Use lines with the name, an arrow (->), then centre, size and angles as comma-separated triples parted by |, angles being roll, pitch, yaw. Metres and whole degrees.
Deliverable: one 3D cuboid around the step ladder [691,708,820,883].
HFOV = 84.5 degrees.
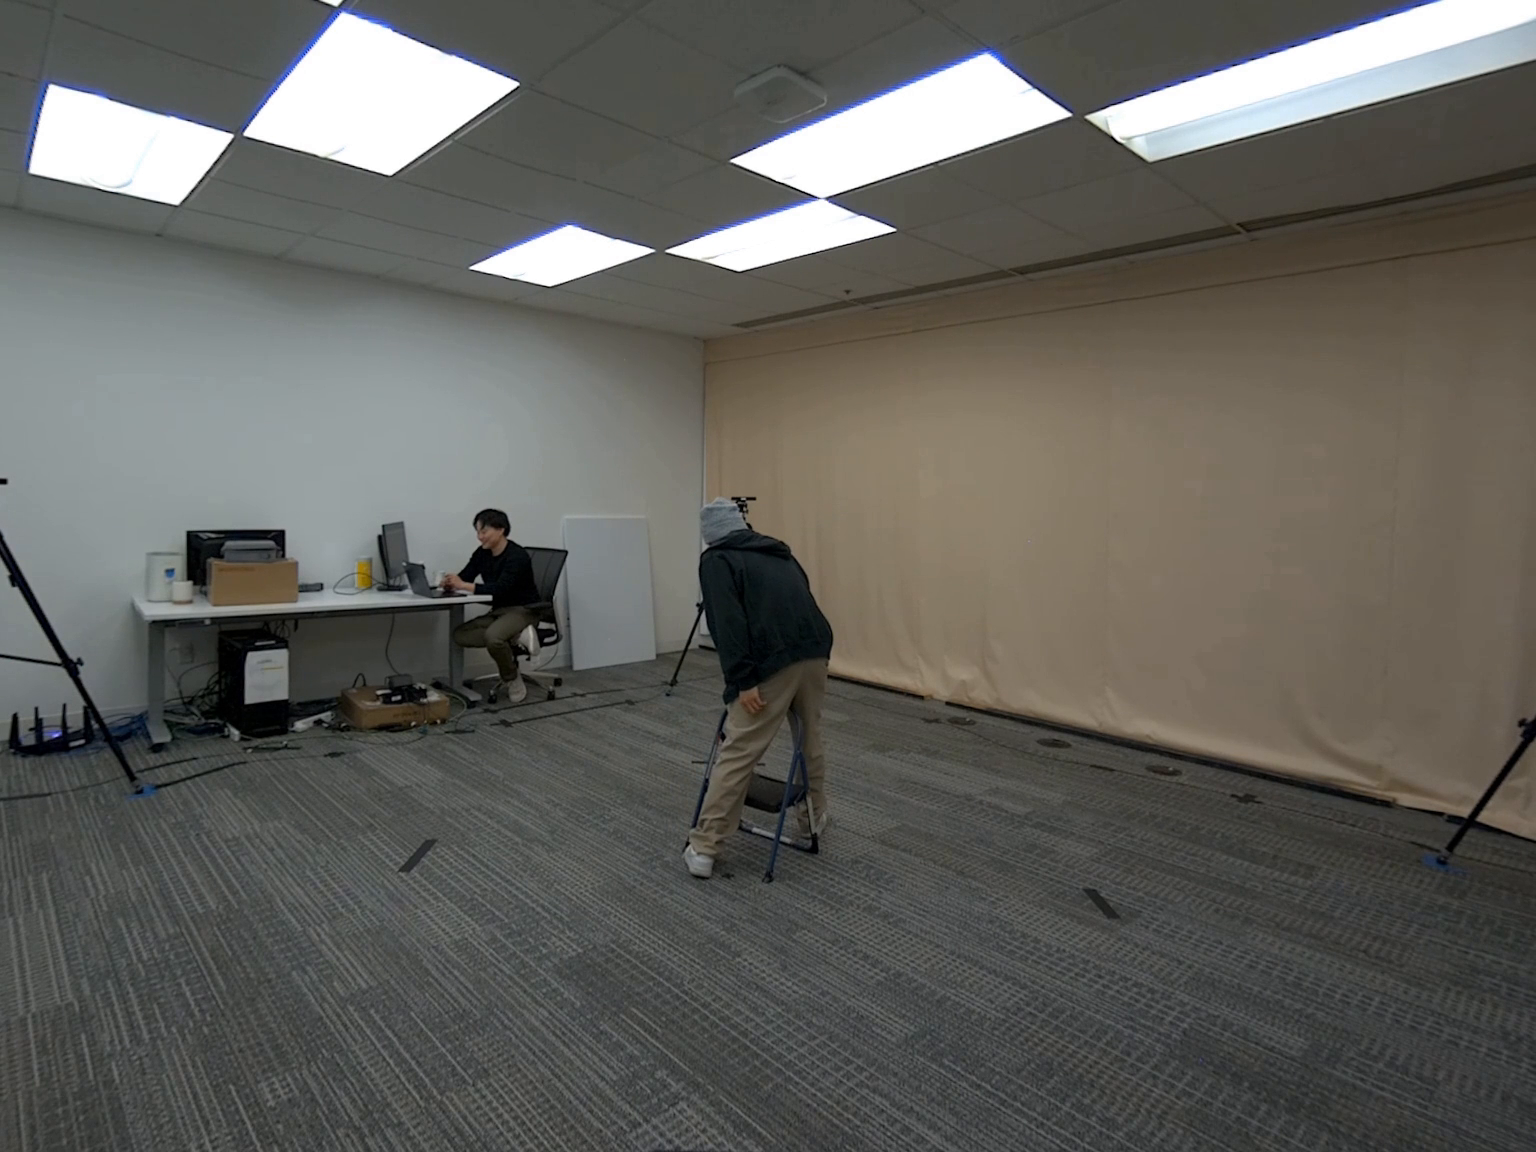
step ladder -> -0.063, 0.789, 3.304 | 0.441, 0.605, 0.341 | 3, 3, 37
